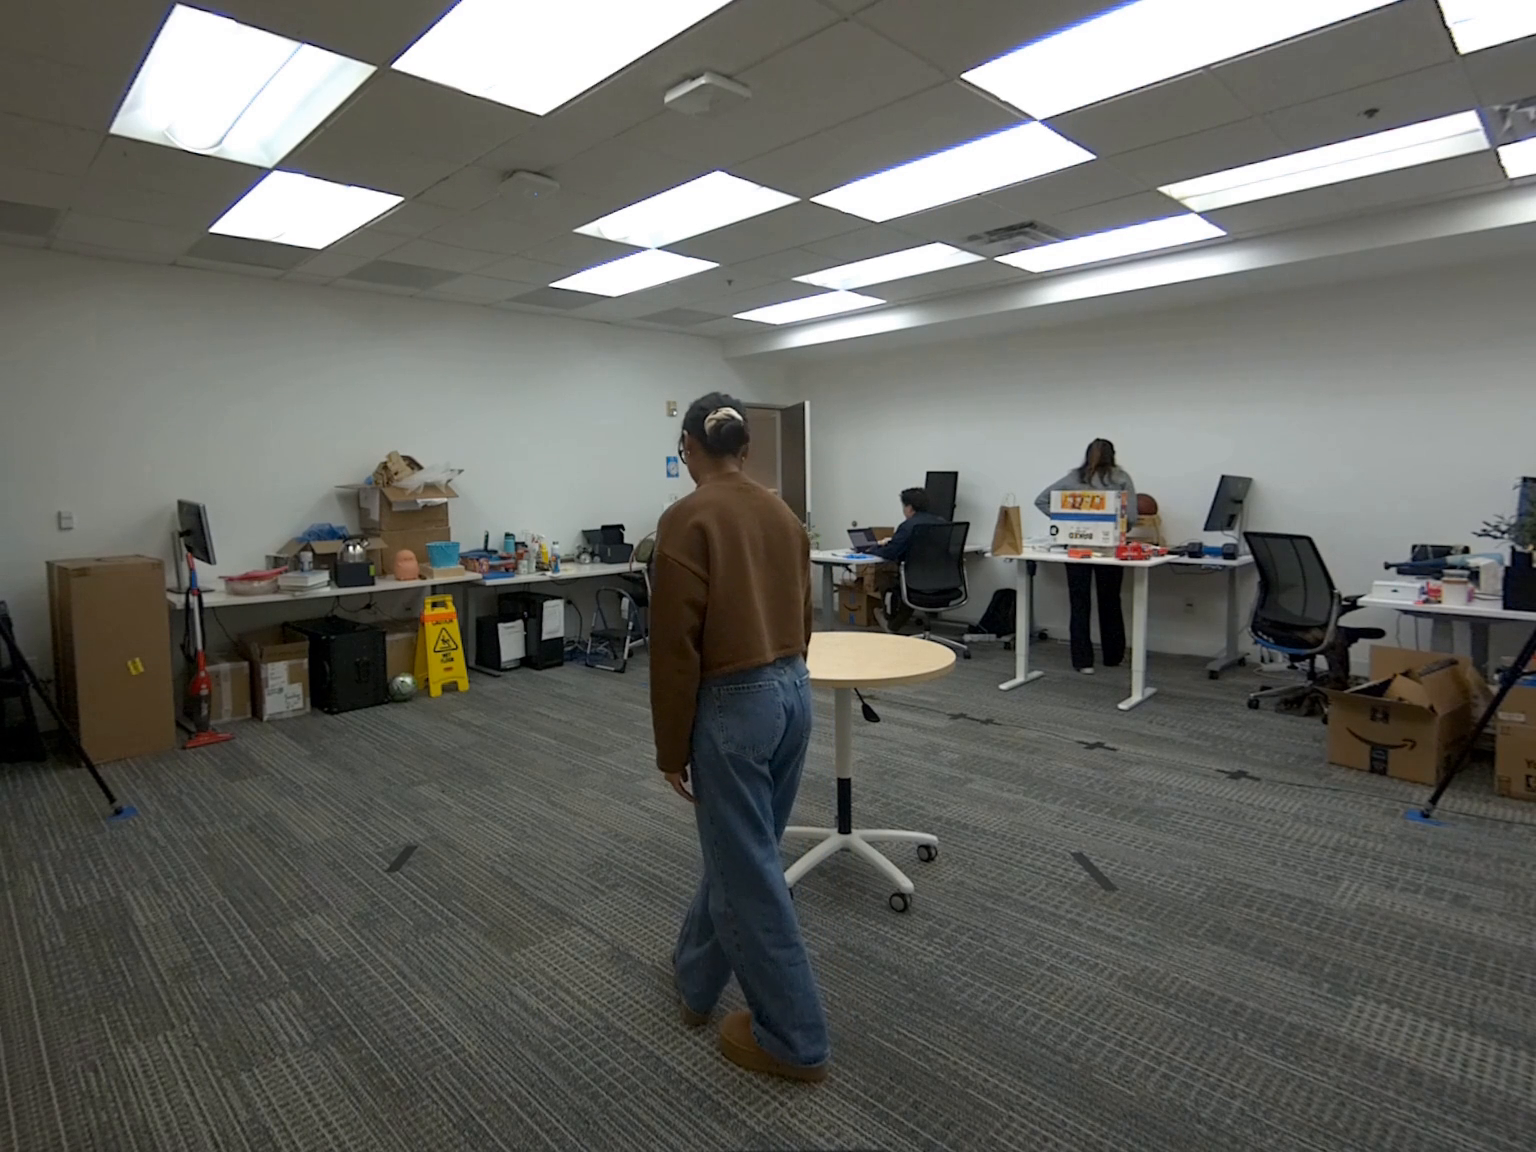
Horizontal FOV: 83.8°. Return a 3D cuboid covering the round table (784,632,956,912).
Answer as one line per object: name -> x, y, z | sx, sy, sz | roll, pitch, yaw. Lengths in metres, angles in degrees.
round table -> 0.268, 0.661, 3.009 | 0.763, 0.791, 0.768 | -1, 5, -2
